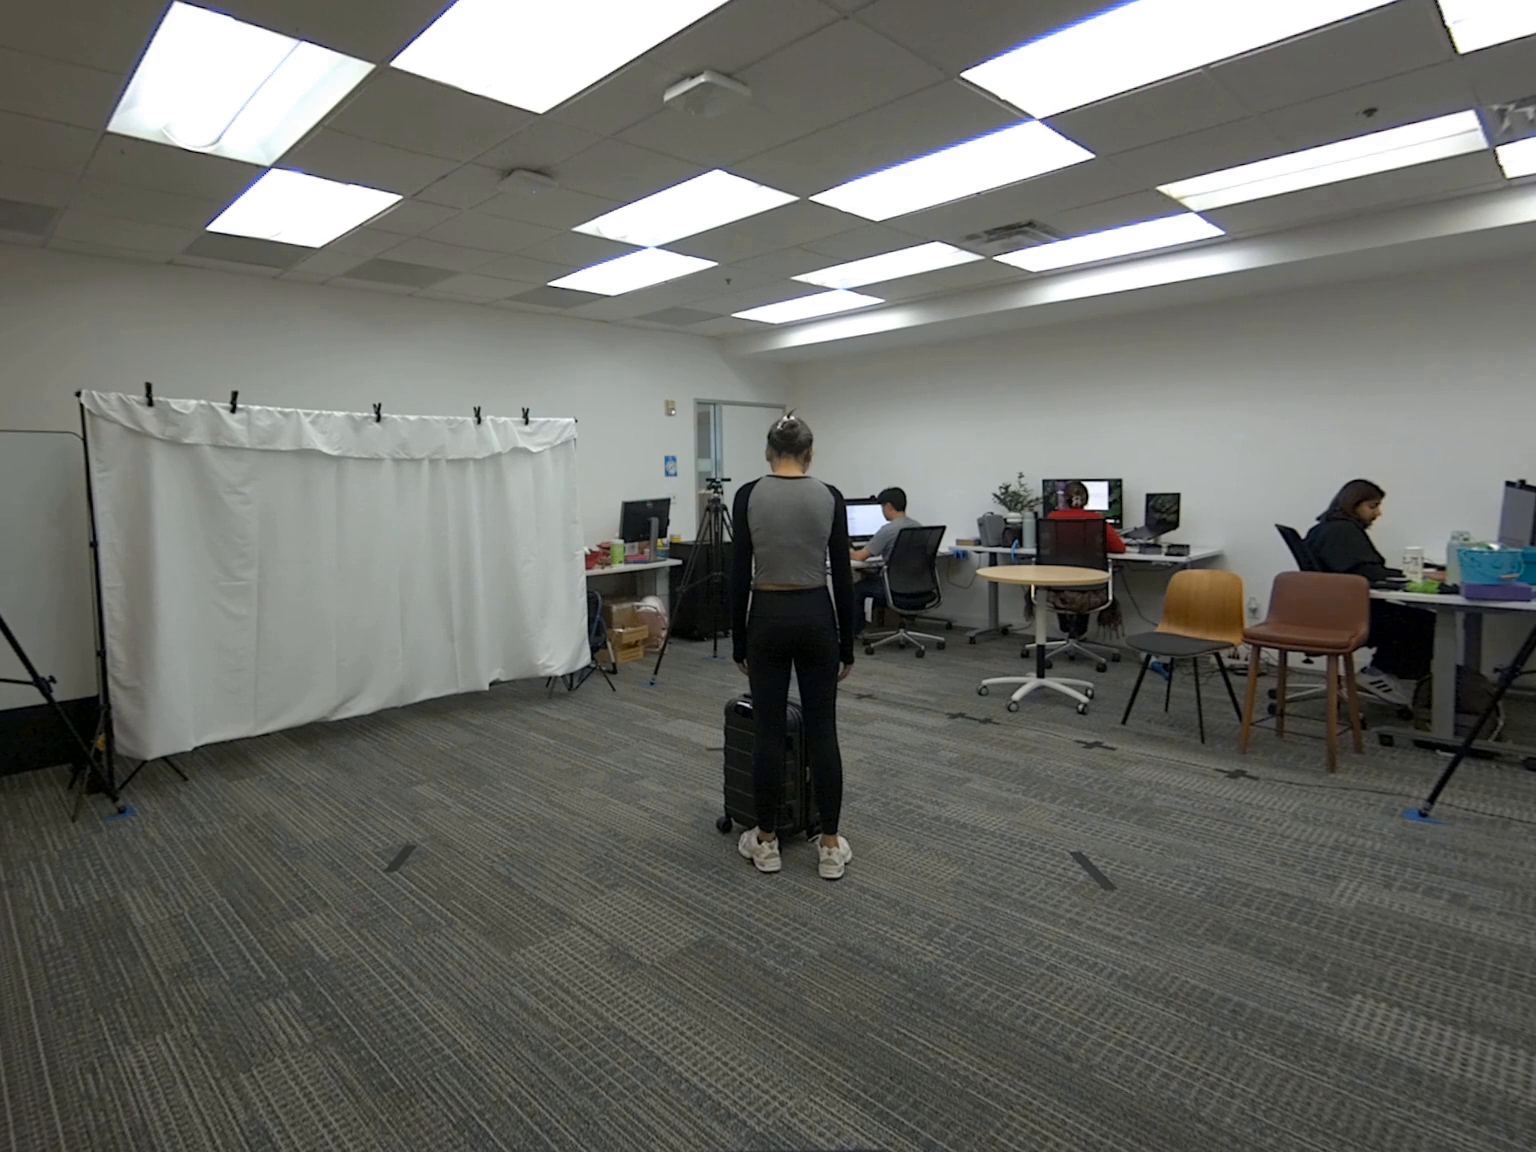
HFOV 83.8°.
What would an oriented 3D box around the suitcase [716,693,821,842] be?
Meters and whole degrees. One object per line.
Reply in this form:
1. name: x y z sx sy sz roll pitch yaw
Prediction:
1. suitcase: 0.015 0.737 3.347 0.241 0.548 0.387 -2 4 -43
